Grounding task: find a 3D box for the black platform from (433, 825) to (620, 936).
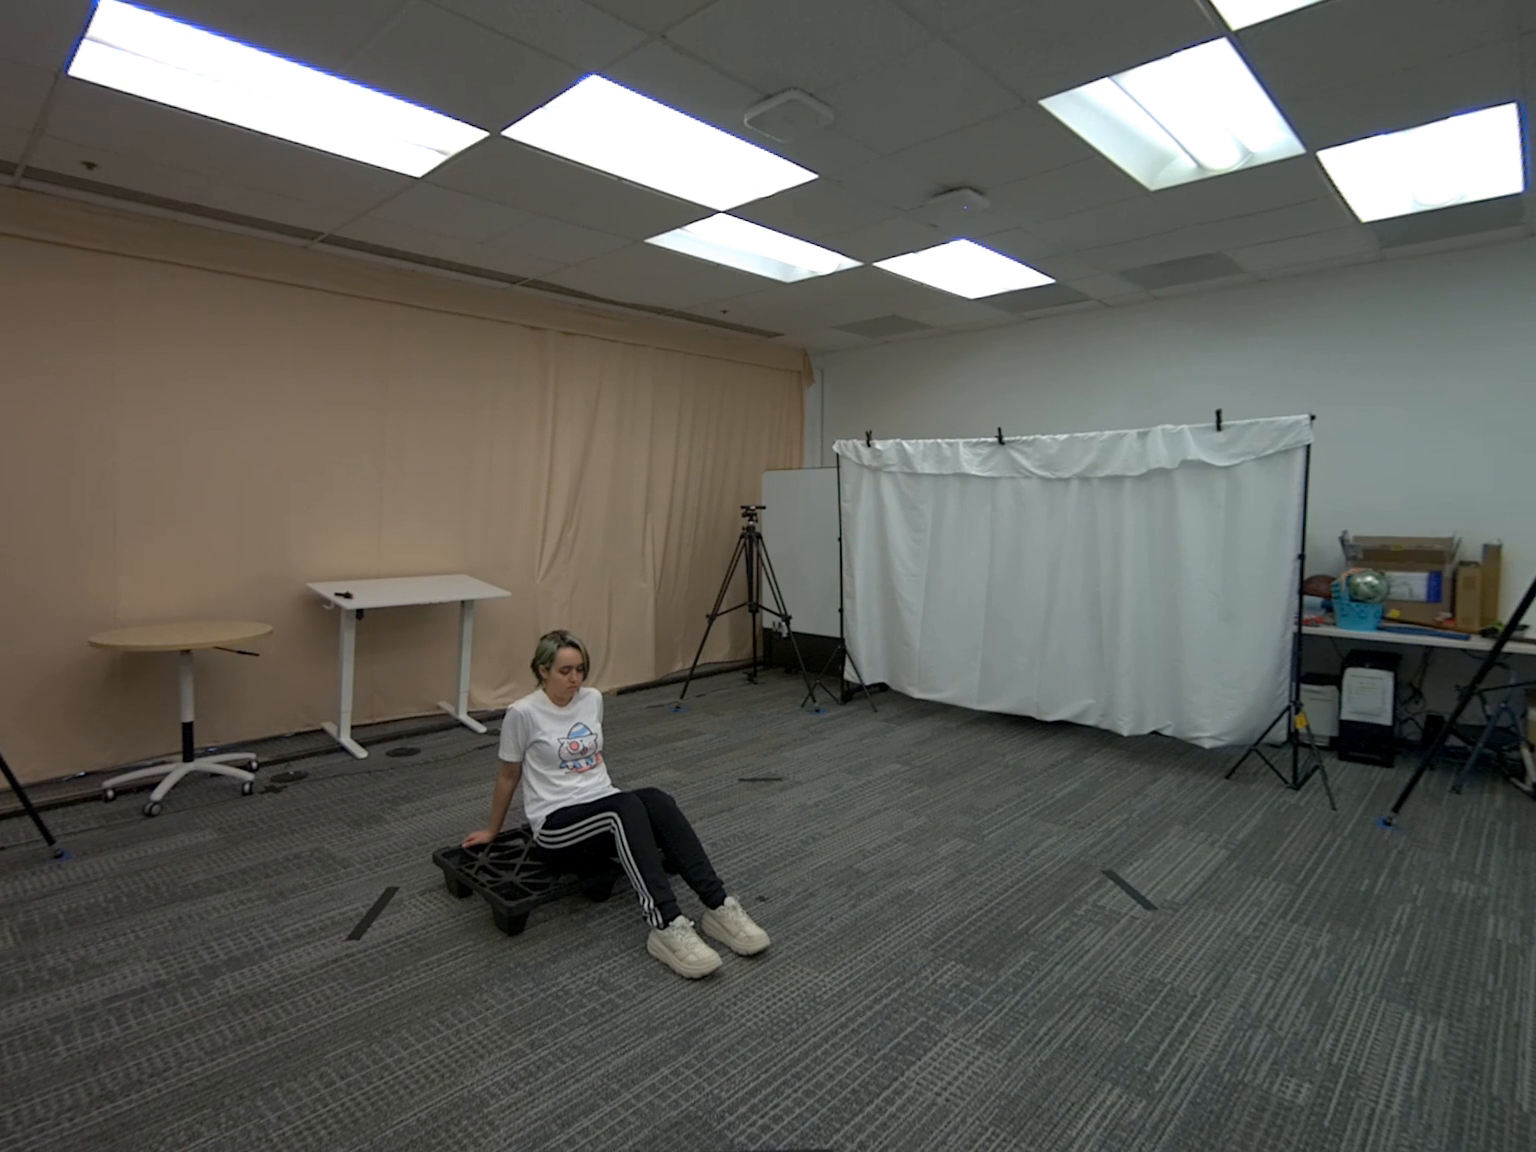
[{"bbox_3d":[-0.745,1.069,3.145,0.781,0.143,0.625,-5,7,-43],"label":"black platform"}]
